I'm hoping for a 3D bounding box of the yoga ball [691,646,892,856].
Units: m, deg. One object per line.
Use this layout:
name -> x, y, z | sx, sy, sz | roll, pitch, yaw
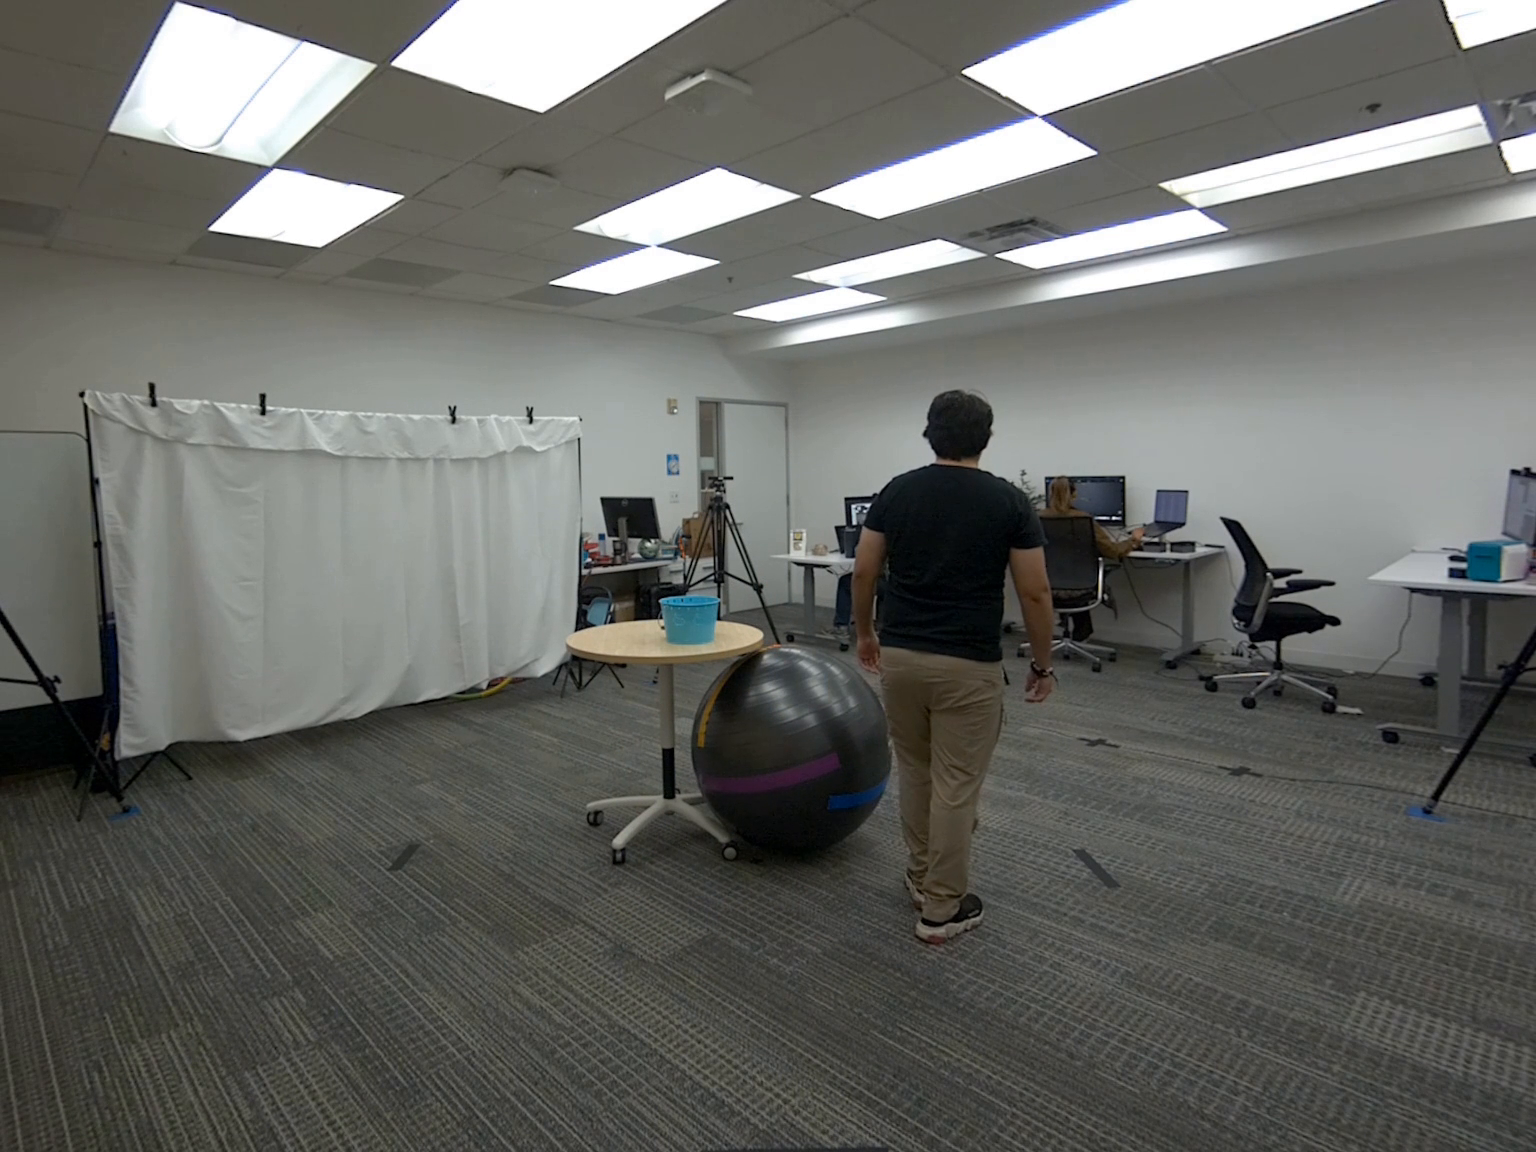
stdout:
yoga ball -> 0.093, 0.650, 3.238 | 0.757, 0.755, 0.762 | -1, 5, -2
